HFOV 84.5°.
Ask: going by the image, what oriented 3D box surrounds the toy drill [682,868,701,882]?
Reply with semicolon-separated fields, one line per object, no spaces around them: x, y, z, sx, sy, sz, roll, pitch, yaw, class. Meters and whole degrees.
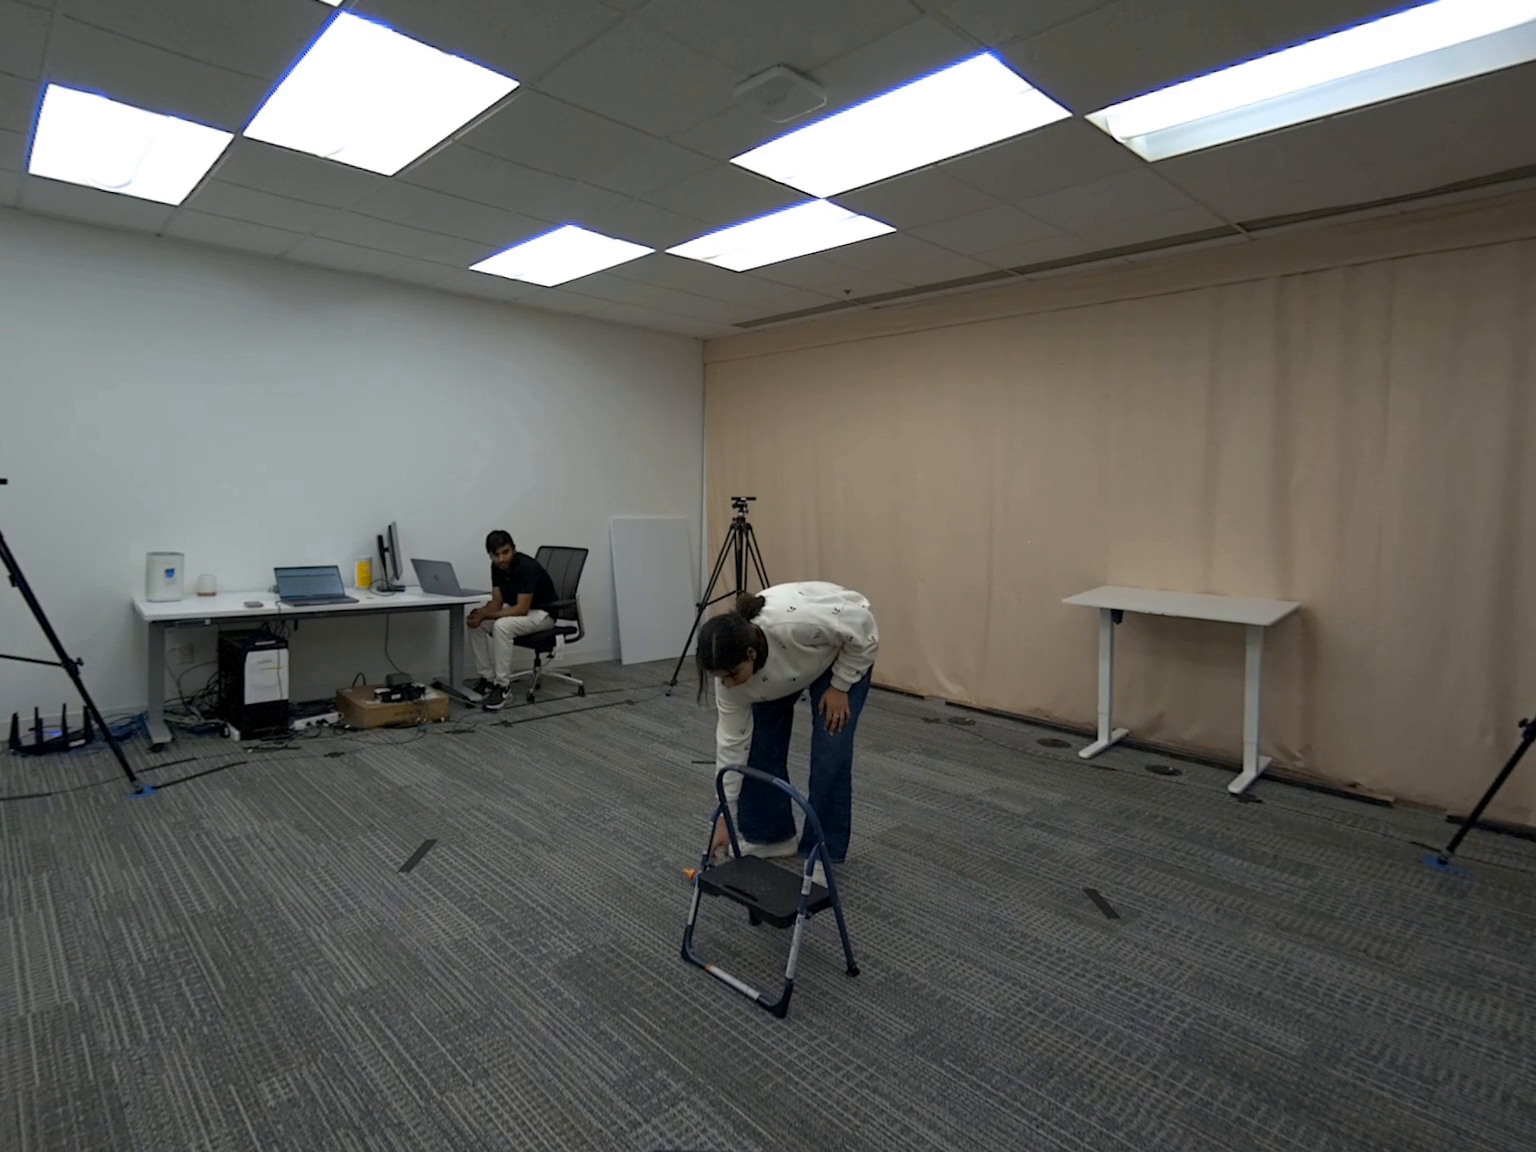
-0.221;1.088;3.030;0.174;0.061;0.143;12;10;37;toy drill
